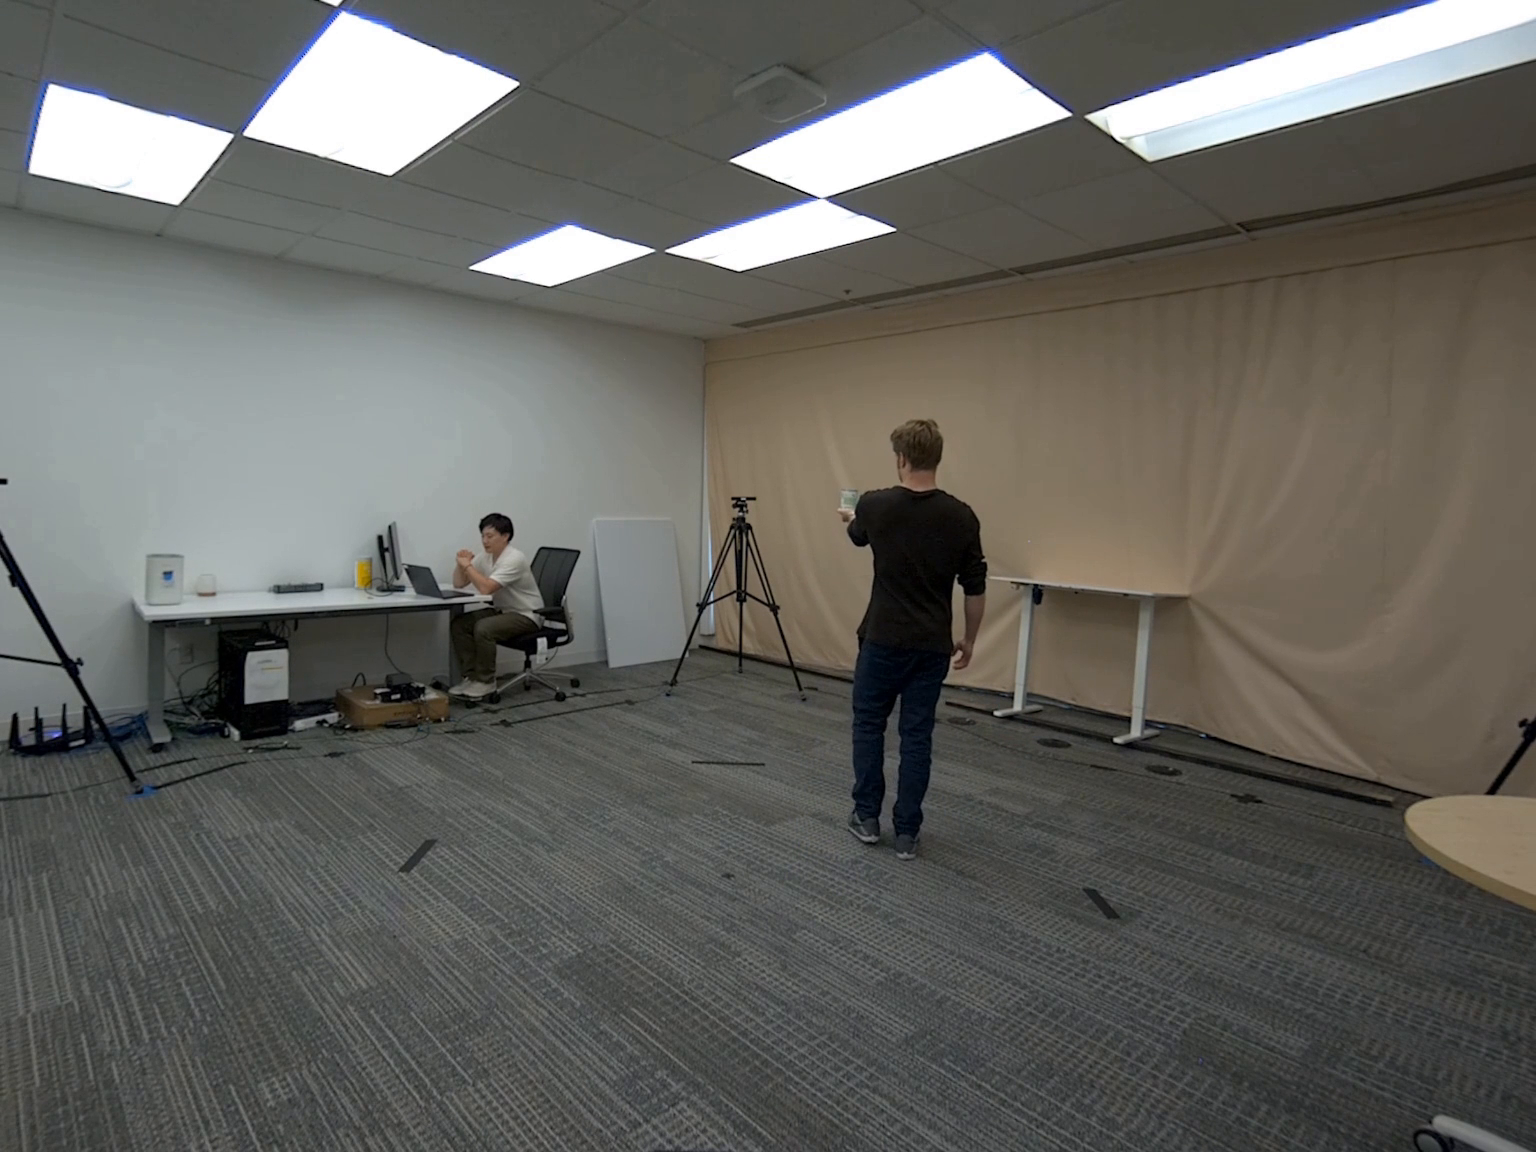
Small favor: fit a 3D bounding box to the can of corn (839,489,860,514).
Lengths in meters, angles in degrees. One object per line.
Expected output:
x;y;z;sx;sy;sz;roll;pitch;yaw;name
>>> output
0.373;-0.344;3.917;0.074;0.110;0.074;3;6;-2;can of corn
